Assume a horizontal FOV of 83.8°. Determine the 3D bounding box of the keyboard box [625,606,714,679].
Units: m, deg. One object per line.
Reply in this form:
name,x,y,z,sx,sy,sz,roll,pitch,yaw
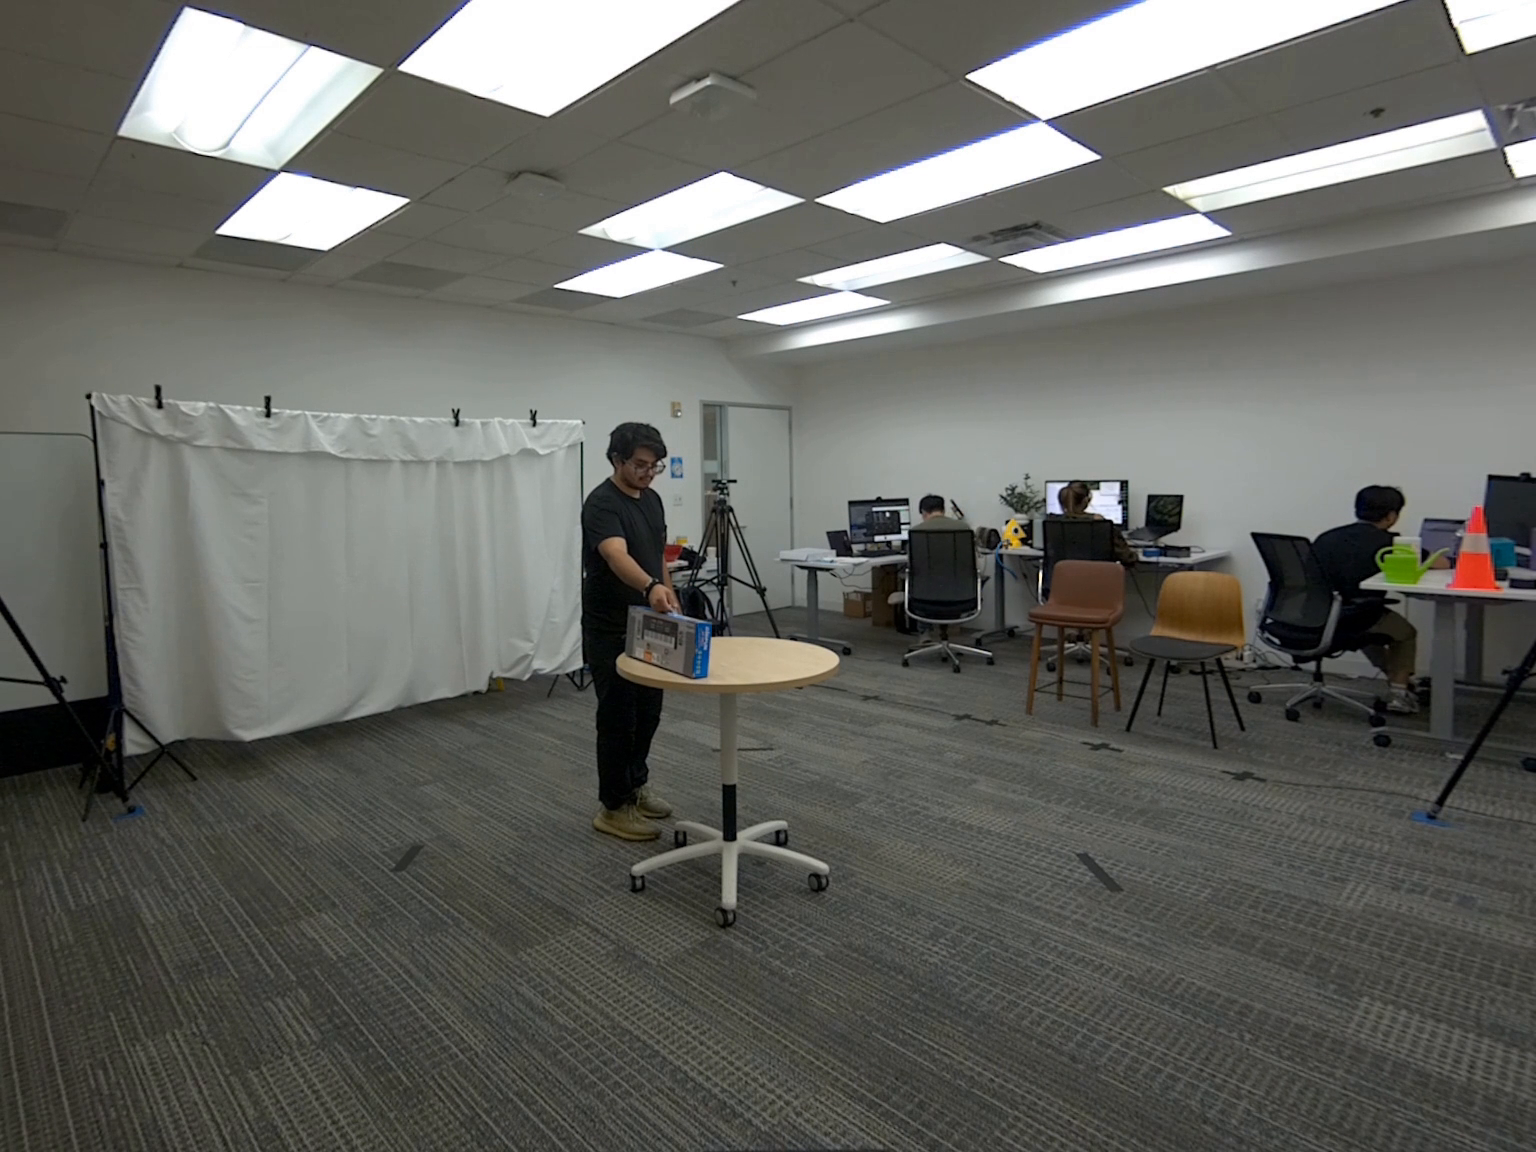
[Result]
keyboard box,-0.336,0.213,2.823,0.057,0.176,0.450,4,2,-37
